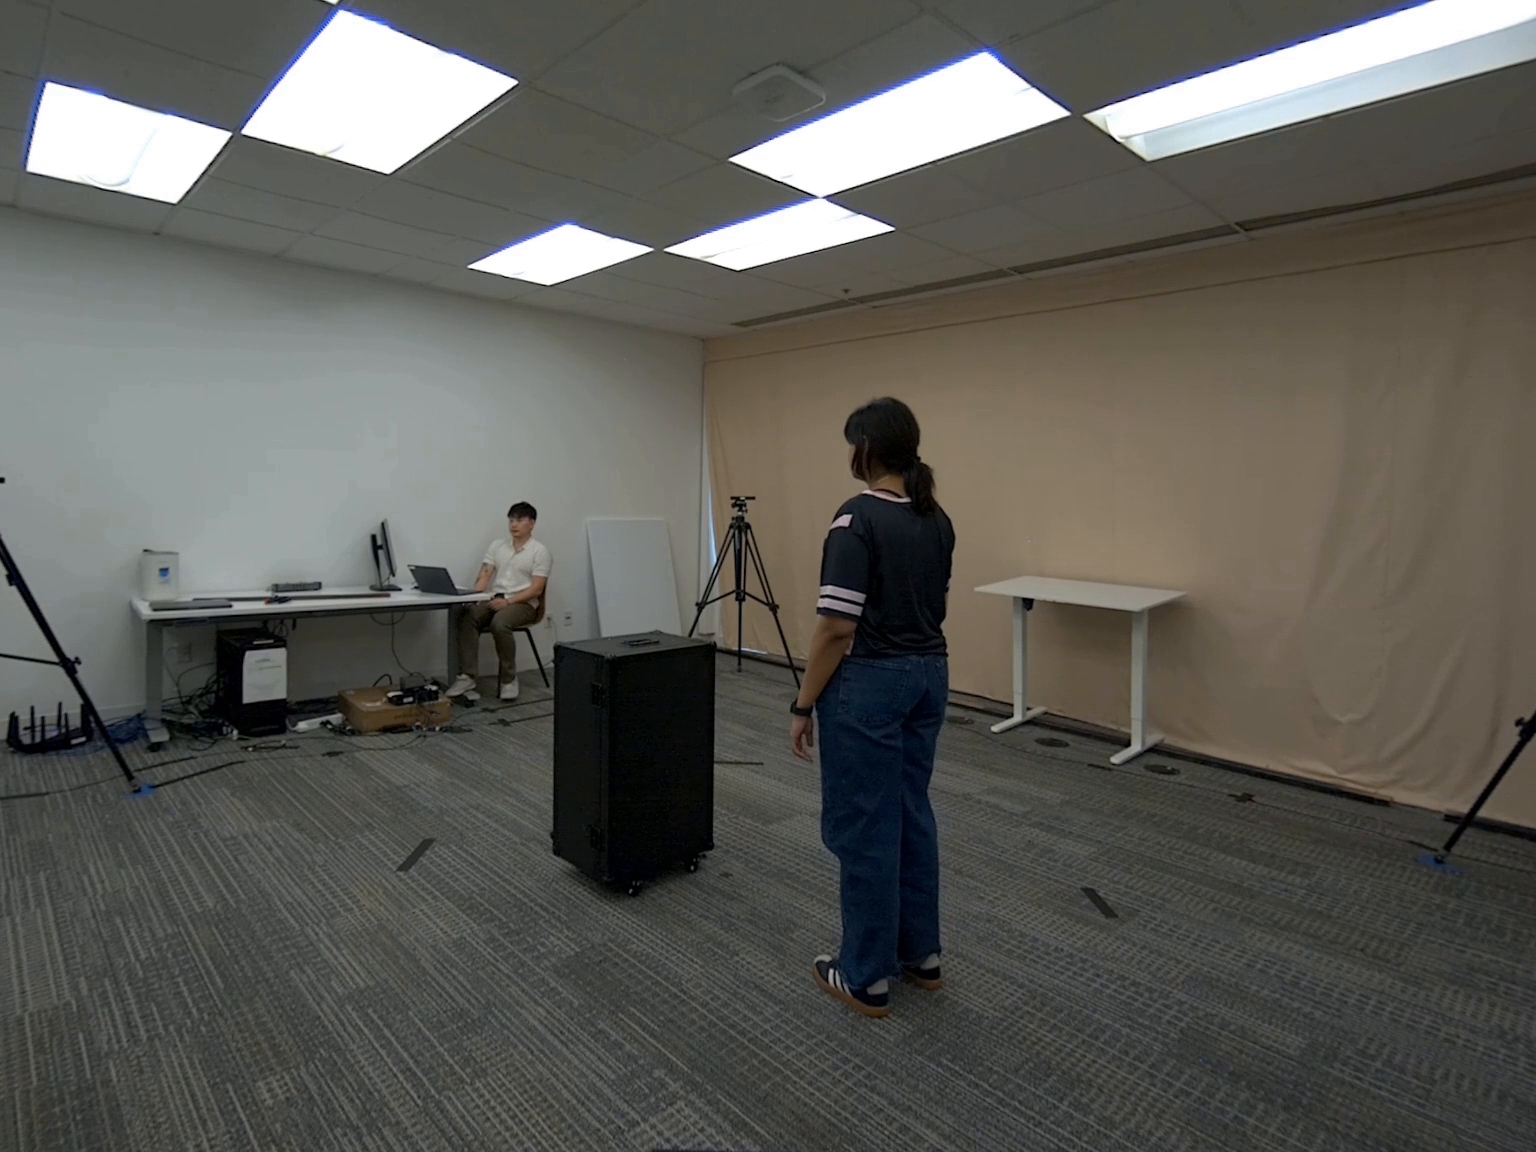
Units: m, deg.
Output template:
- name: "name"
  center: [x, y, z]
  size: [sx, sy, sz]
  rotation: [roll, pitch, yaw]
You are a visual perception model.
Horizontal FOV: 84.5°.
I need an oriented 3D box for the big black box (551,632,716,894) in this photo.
- name: "big black box"
  center: [-0.509, 0.675, 3.106]
  size: [0.511, 0.867, 0.395]
  rotation: [-2, 4, -44]
